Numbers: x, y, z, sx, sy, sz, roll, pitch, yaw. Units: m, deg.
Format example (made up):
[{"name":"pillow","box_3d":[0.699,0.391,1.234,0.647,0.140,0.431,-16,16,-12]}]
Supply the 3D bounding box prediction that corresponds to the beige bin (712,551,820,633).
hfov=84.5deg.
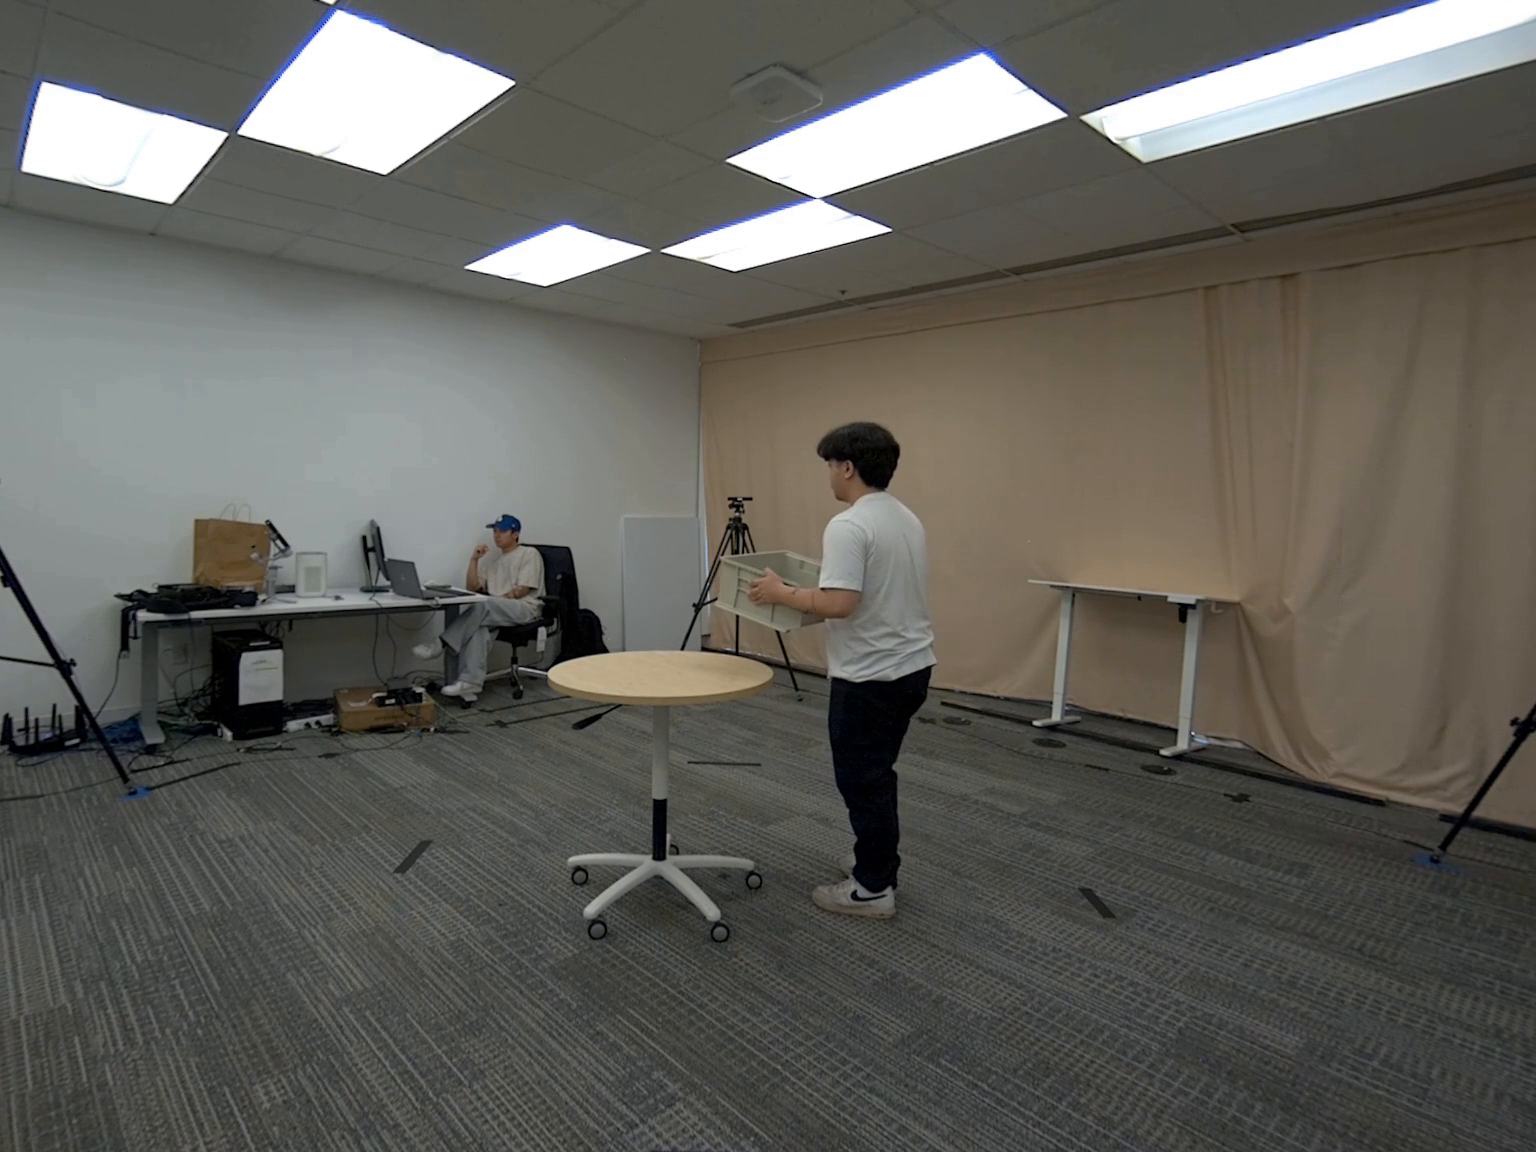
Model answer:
[{"name":"beige bin","box_3d":[0.072,0.051,3.078,0.388,0.187,0.414,18,16,34]}]
